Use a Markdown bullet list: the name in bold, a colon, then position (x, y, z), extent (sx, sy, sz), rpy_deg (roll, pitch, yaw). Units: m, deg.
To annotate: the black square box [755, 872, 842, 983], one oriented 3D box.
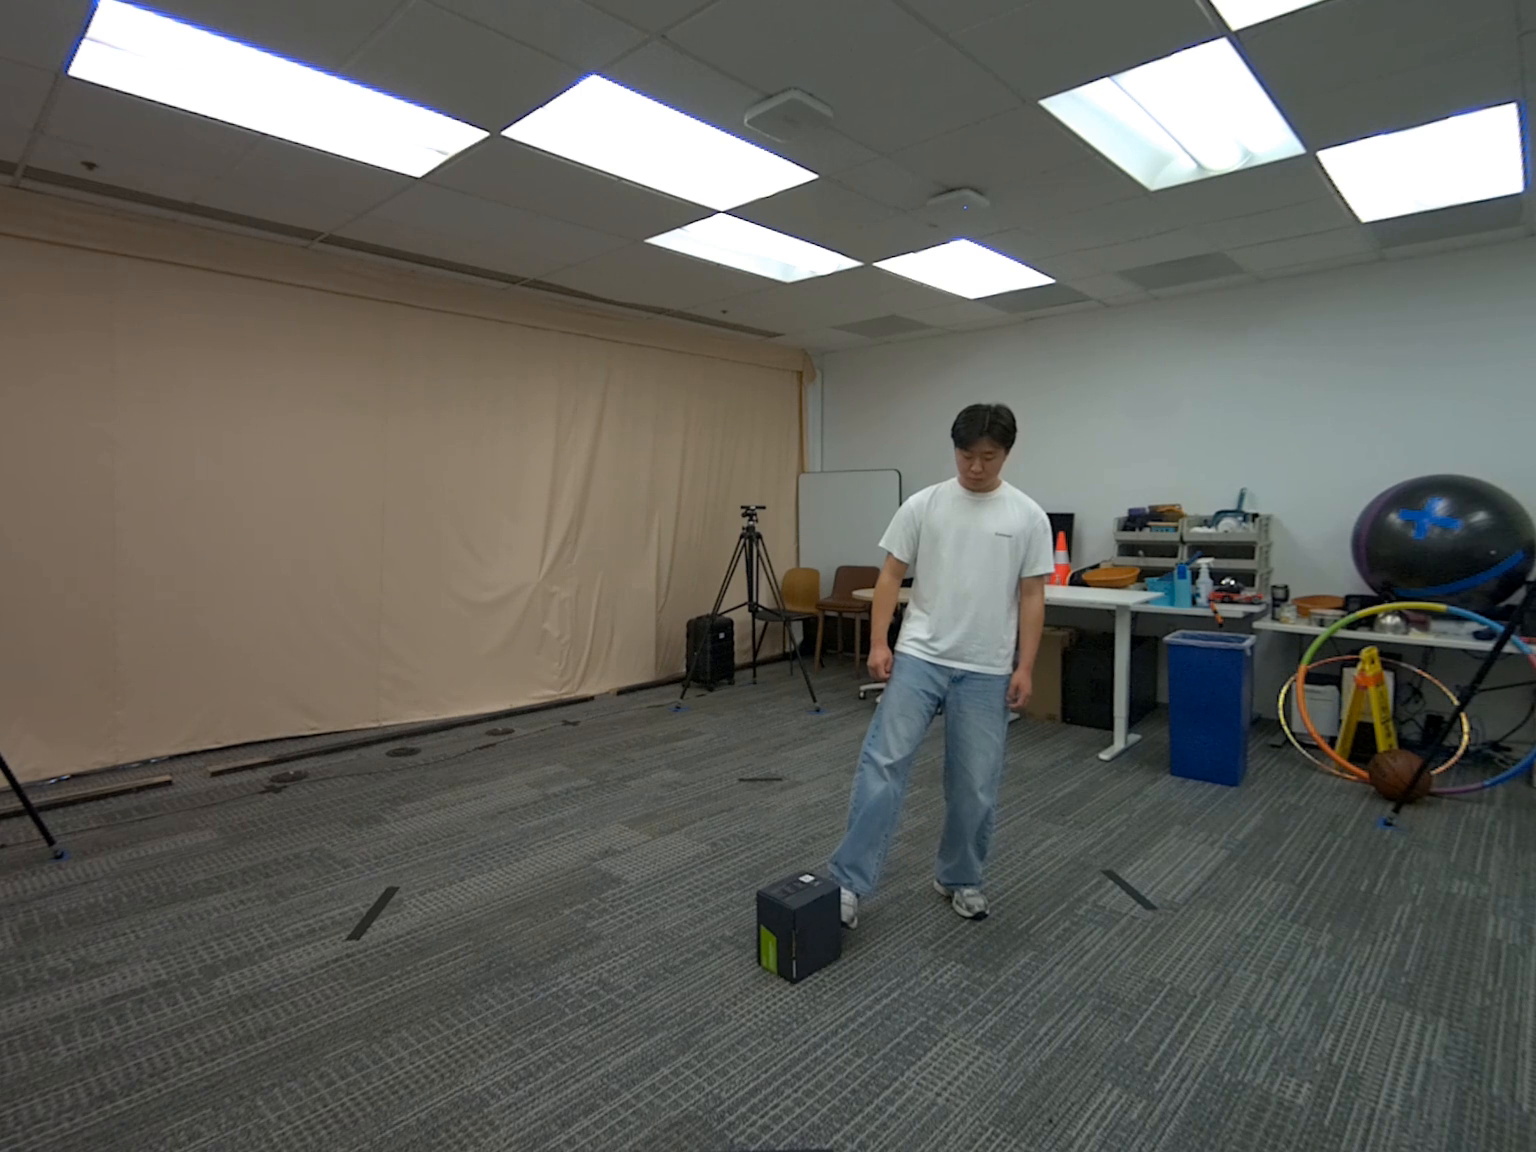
- **black square box**: position (0.110, 1.059, 2.565), extent (0.210, 0.227, 0.161), rpy_deg (-4, 5, -45)
